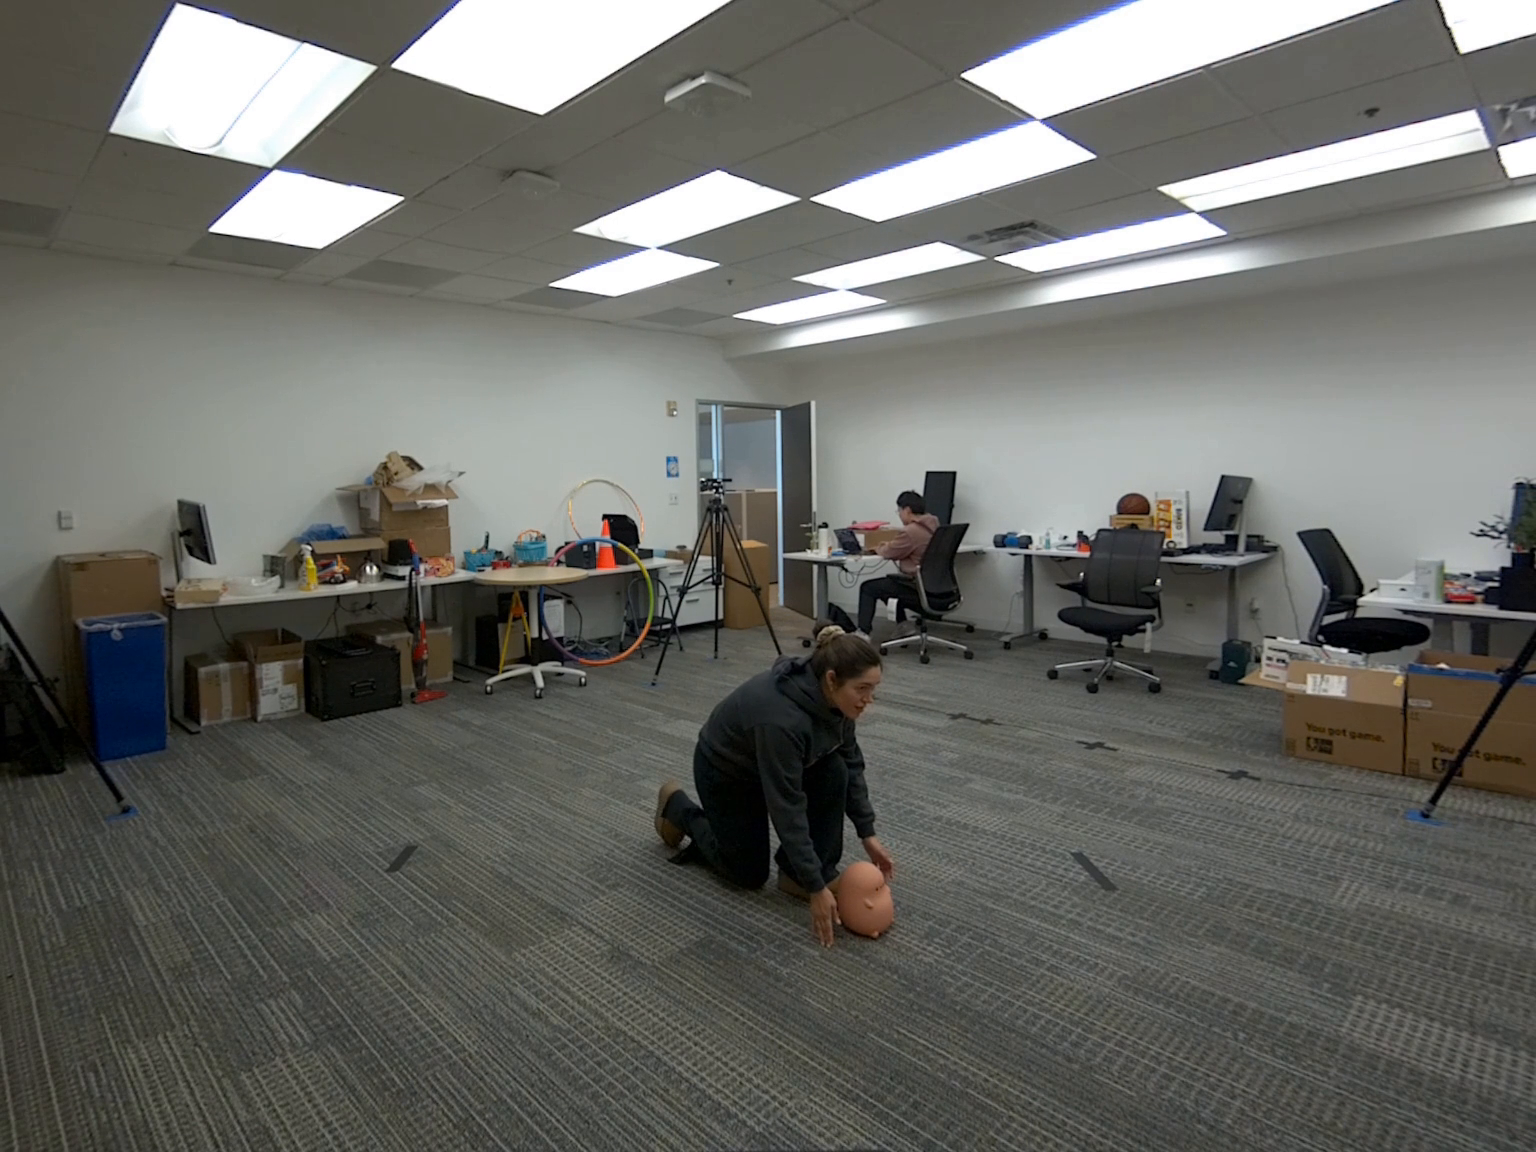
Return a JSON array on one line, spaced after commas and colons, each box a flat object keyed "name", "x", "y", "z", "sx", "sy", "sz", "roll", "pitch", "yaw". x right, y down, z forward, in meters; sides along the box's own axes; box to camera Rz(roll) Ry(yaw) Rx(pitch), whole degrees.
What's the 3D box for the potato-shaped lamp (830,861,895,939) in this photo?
[{"name": "potato-shaped lamp", "x": 0.293, "y": 0.985, "z": 2.646, "sx": 0.176, "sy": 0.198, "sz": 0.160, "roll": -5, "pitch": 1, "yaw": 38}]
